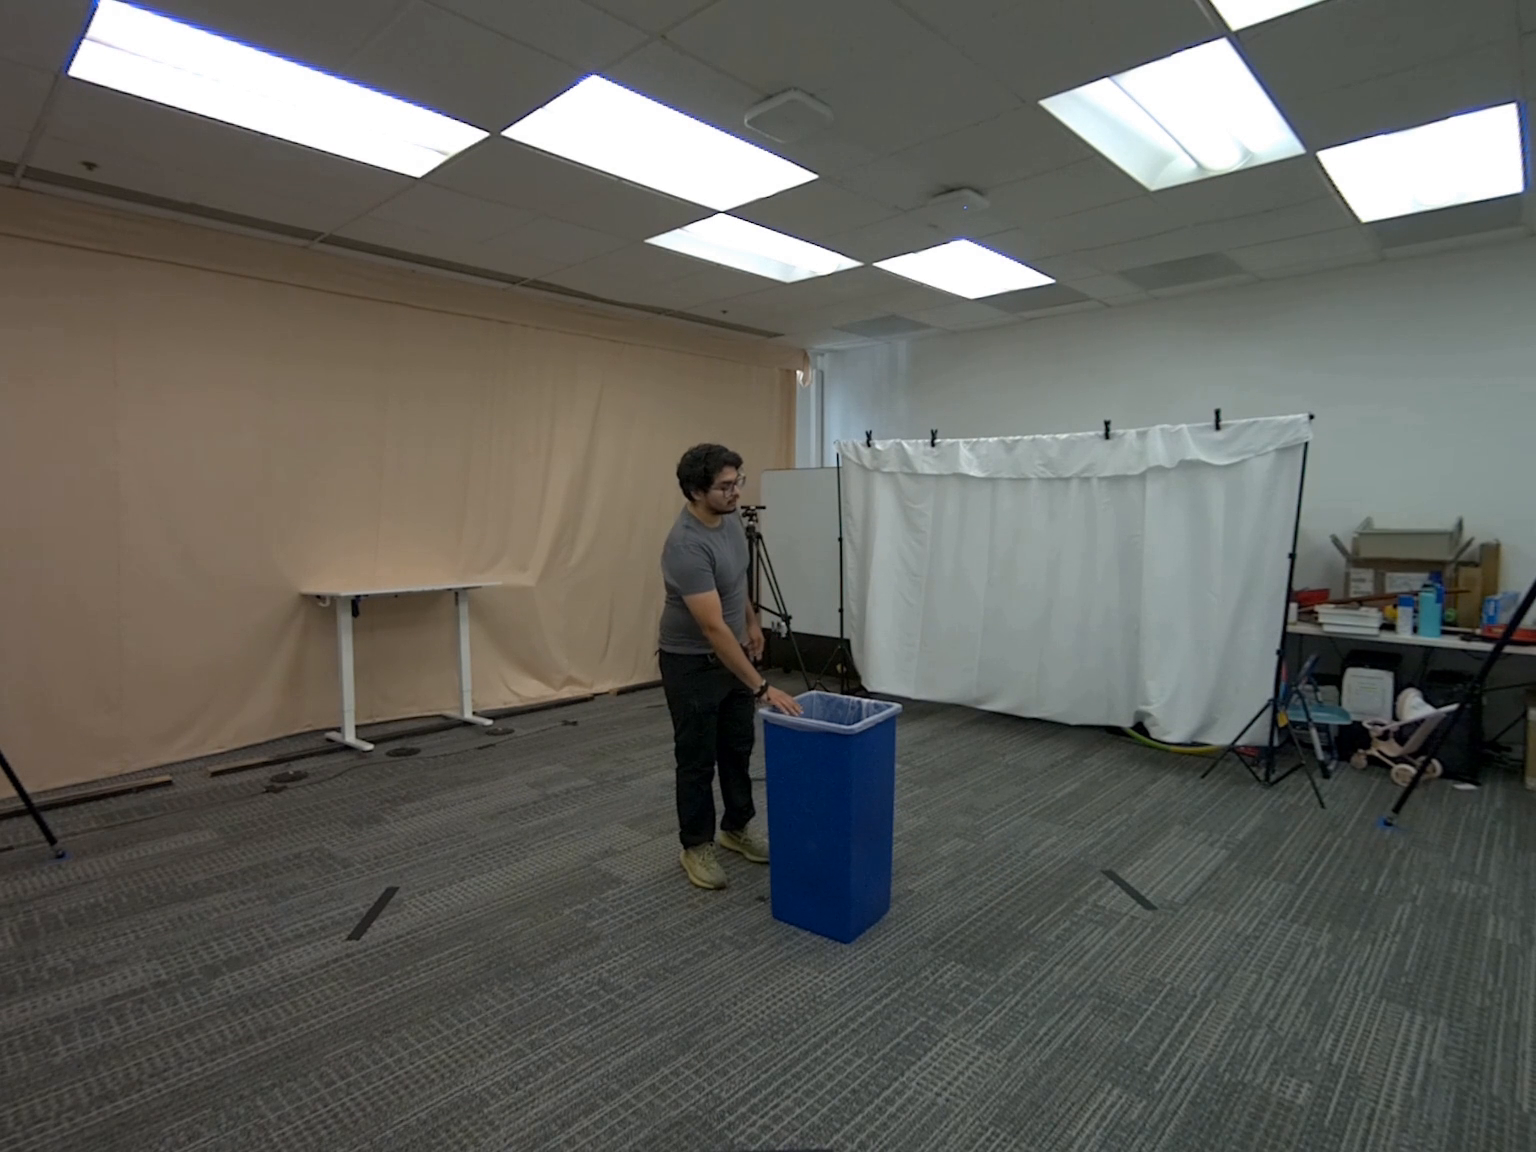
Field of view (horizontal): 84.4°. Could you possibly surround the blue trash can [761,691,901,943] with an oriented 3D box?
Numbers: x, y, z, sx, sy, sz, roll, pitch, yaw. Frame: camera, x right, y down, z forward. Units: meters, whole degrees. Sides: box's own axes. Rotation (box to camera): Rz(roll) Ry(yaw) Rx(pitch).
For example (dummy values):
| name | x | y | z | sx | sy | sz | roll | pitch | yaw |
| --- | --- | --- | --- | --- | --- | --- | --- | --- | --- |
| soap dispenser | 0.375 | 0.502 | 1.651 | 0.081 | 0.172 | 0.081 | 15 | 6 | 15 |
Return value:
| name | x | y | z | sx | sy | sz | roll | pitch | yaw |
| --- | --- | --- | --- | --- | --- | --- | --- | --- | --- |
| blue trash can | 0.216 | 0.795 | 2.845 | 0.390 | 0.712 | 0.363 | 2 | 4 | 37 |
